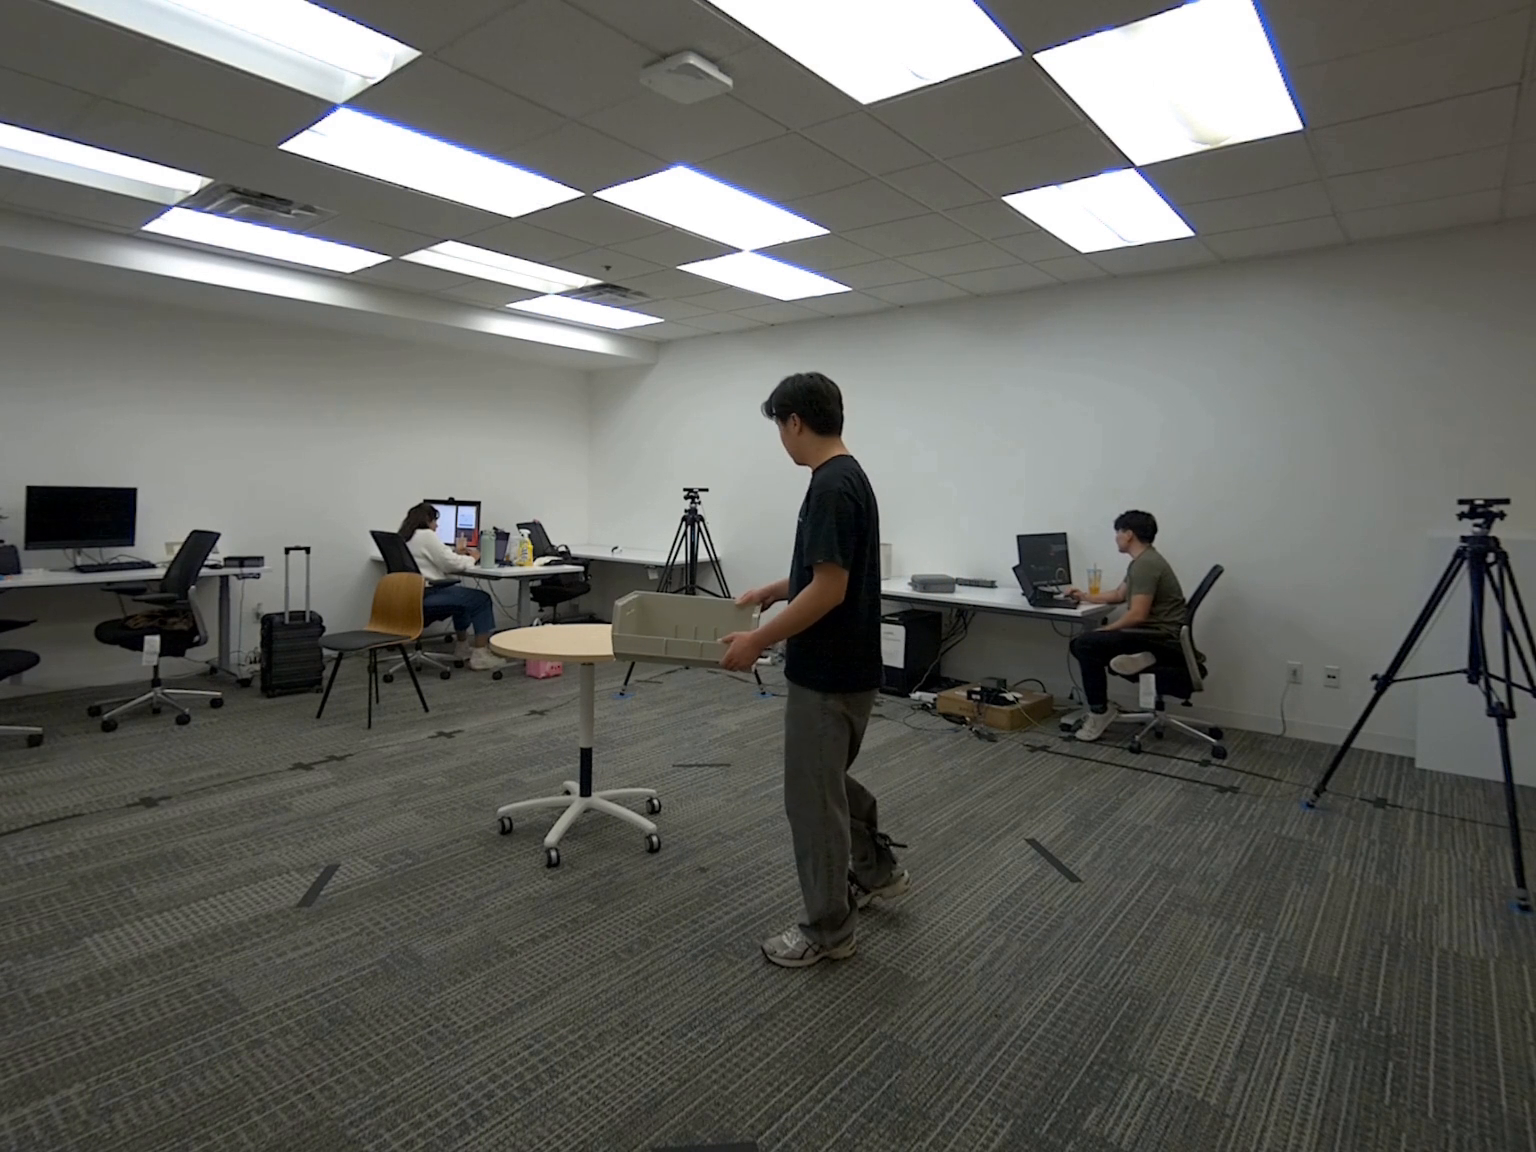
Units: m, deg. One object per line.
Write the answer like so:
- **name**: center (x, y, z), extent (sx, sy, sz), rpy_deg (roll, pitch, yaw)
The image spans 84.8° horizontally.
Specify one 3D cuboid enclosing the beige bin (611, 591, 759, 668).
- **beige bin**: center (-0.239, 0.168, 2.610), extent (0.423, 0.189, 0.377), rpy_deg (3, 2, 0)
